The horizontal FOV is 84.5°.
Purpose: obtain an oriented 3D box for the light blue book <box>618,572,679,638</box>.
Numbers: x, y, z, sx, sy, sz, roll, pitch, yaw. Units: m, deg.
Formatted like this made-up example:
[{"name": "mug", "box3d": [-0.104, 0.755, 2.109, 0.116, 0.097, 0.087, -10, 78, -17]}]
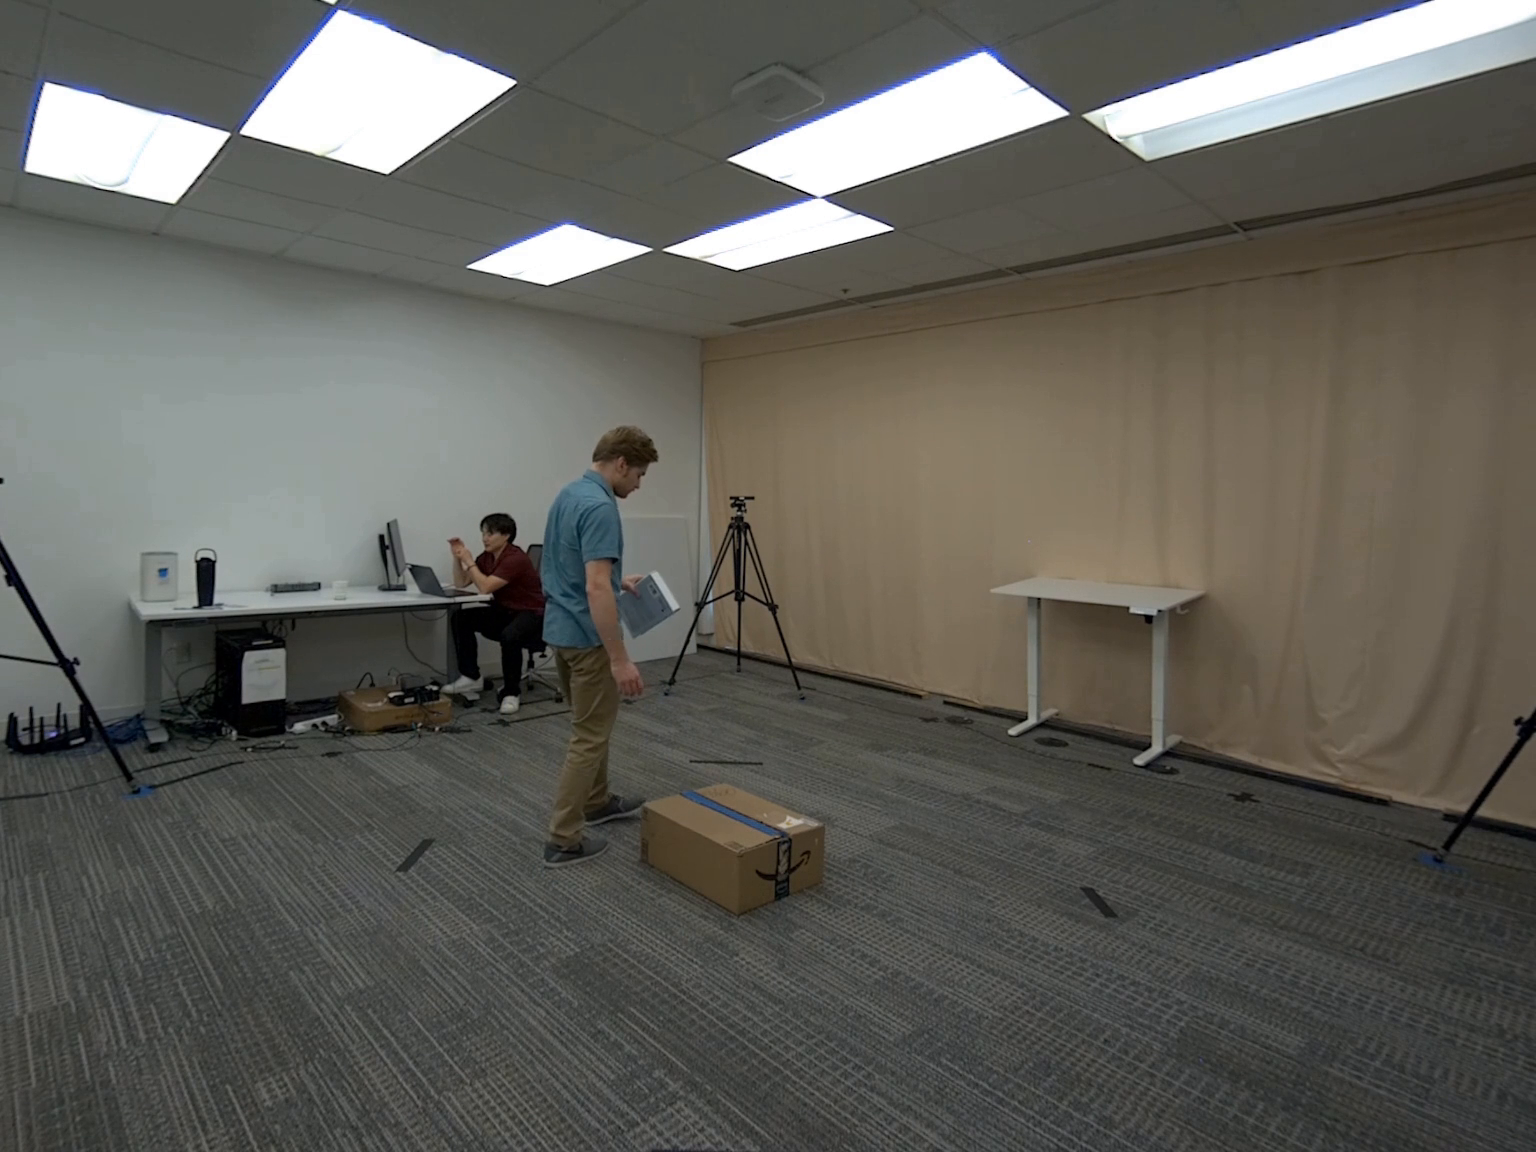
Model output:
[{"name": "light blue book", "box3d": [-0.522, 0.122, 3.502, 0.262, 0.192, 0.058, -35, -6, 31]}]
